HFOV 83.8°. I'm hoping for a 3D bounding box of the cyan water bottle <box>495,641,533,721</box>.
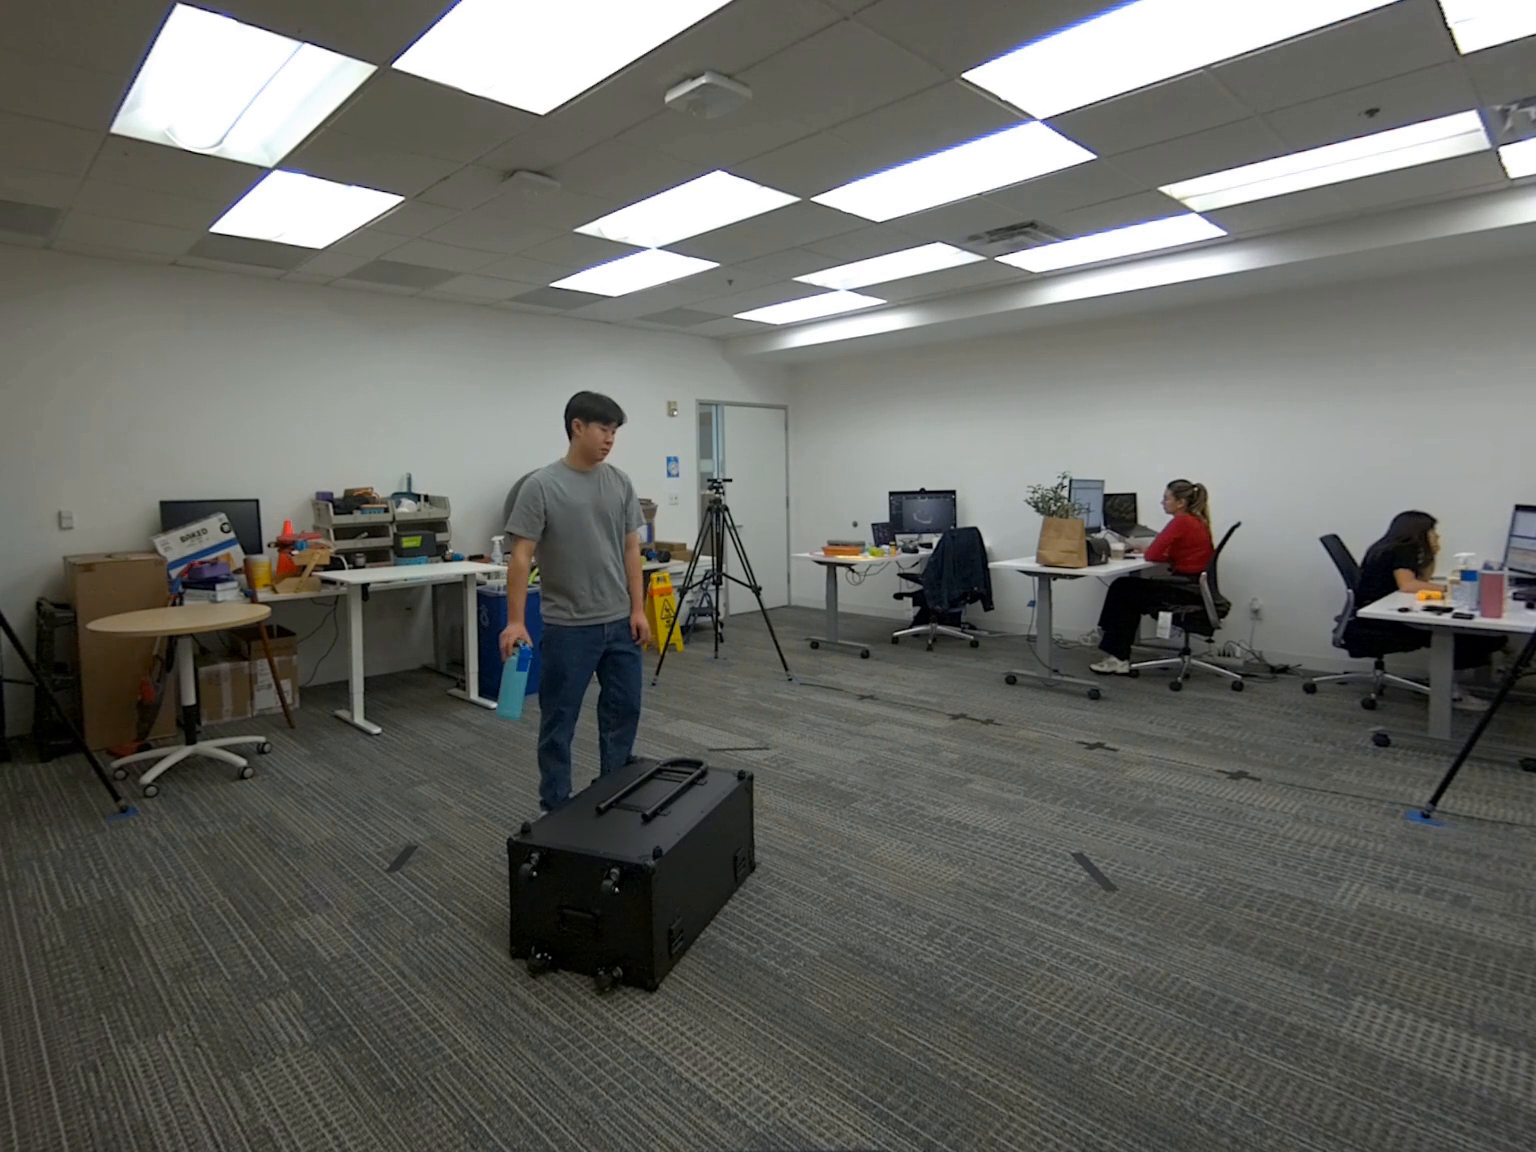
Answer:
[{"bbox_3d":[-0.893,0.374,3.115,0.092,0.284,0.092,9,-3,-1],"label":"cyan water bottle"}]
